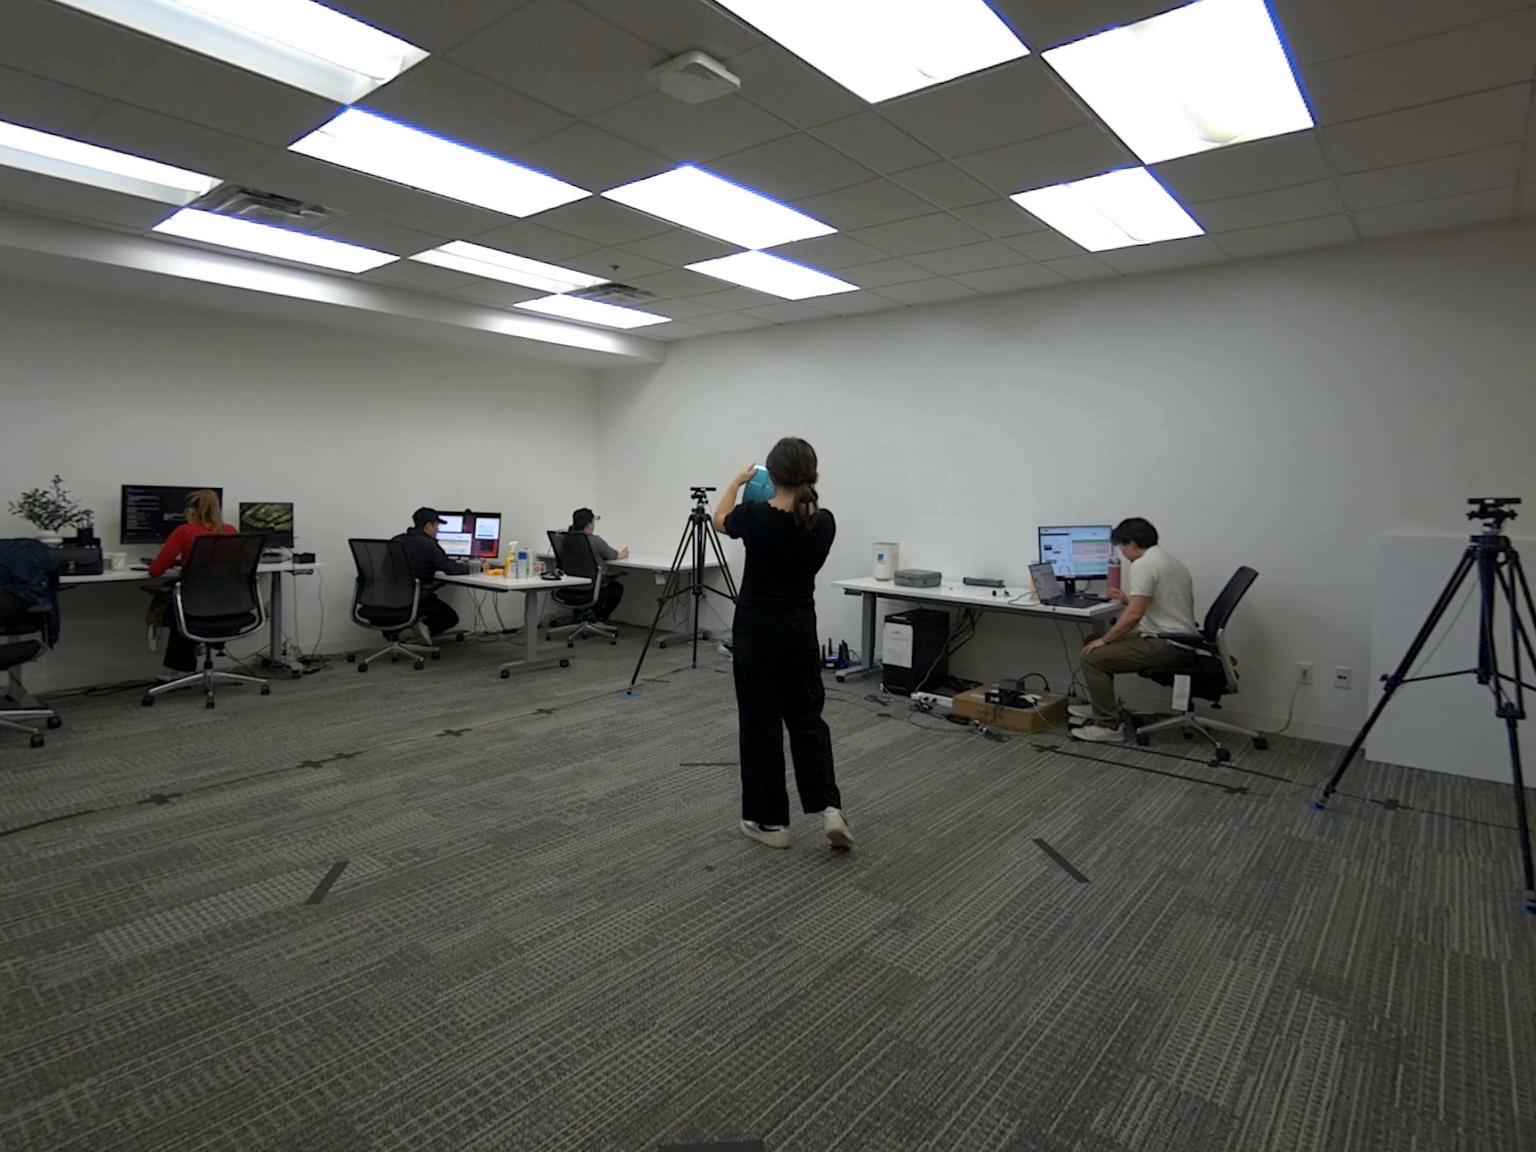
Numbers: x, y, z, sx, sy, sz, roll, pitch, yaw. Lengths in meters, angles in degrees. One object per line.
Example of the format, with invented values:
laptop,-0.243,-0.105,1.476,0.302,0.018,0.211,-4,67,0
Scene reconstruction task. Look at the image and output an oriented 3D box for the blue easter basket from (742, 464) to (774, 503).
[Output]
blue easter basket,-0.018,-0.374,3.700,0.157,0.243,0.243,18,5,2
